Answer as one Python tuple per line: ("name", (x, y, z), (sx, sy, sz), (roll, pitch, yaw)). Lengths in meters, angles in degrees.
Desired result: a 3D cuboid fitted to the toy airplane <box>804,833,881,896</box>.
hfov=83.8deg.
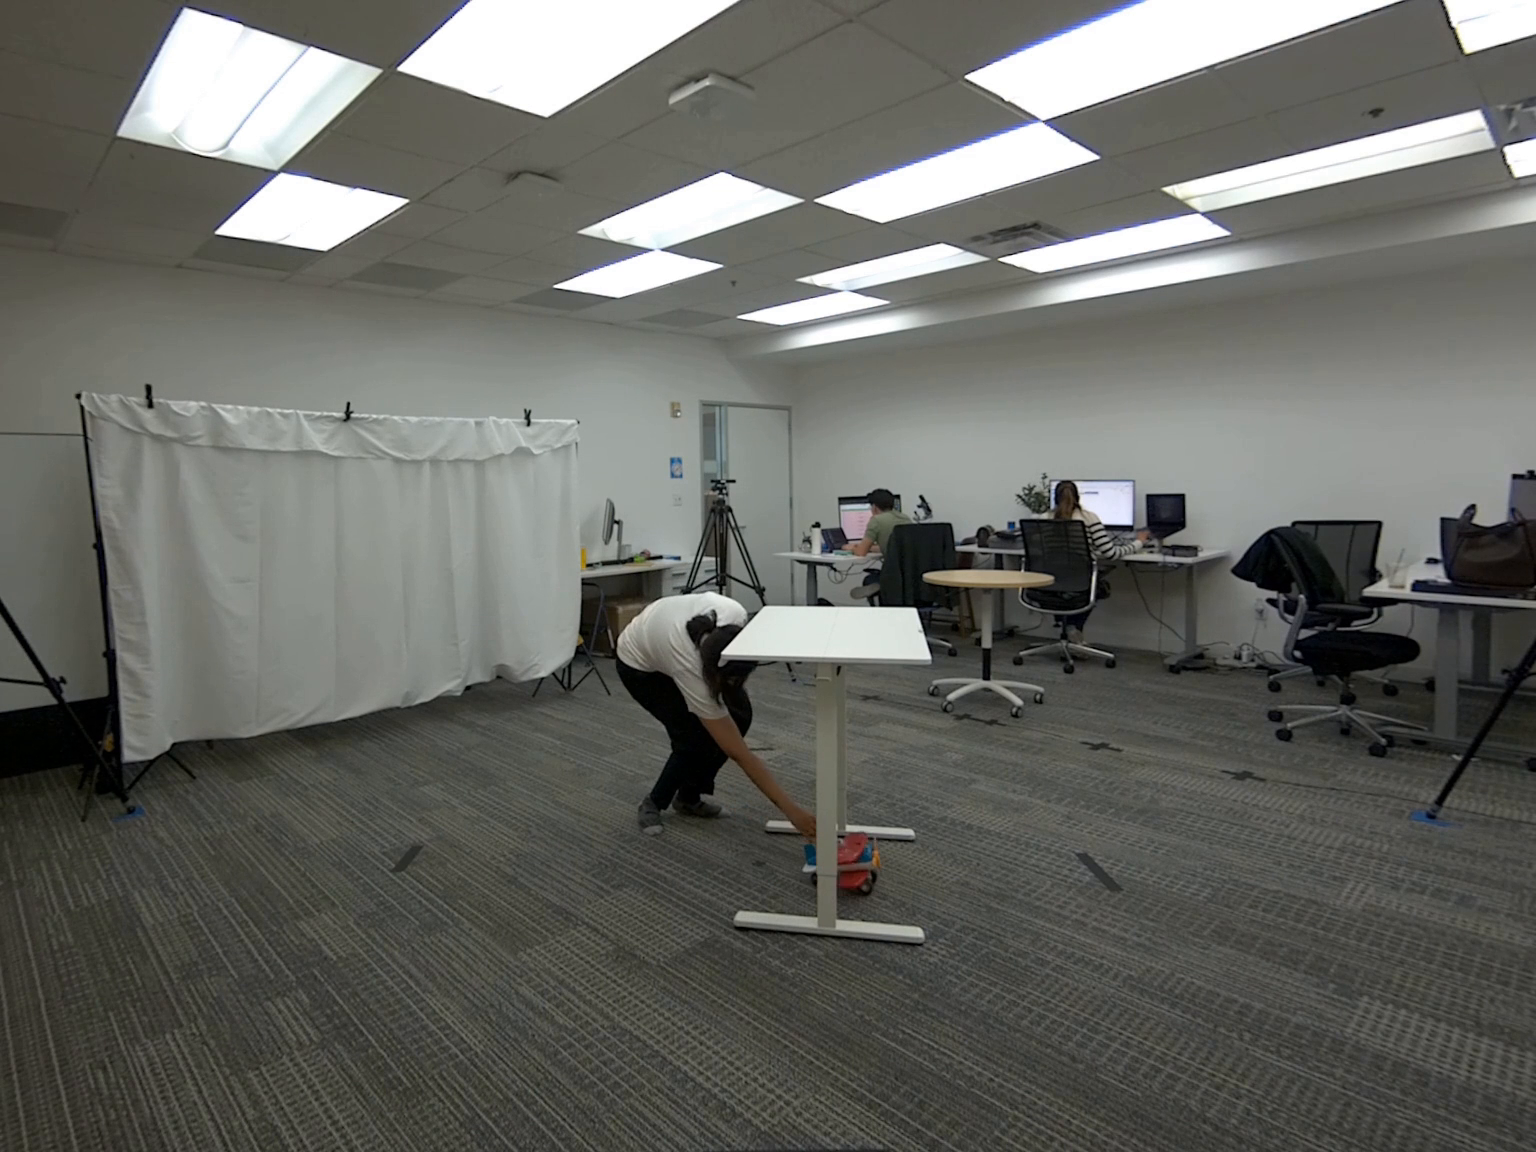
("toy airplane", (0.249, 0.990, 2.911), (0.257, 0.156, 0.254), (0, 5, -10))
